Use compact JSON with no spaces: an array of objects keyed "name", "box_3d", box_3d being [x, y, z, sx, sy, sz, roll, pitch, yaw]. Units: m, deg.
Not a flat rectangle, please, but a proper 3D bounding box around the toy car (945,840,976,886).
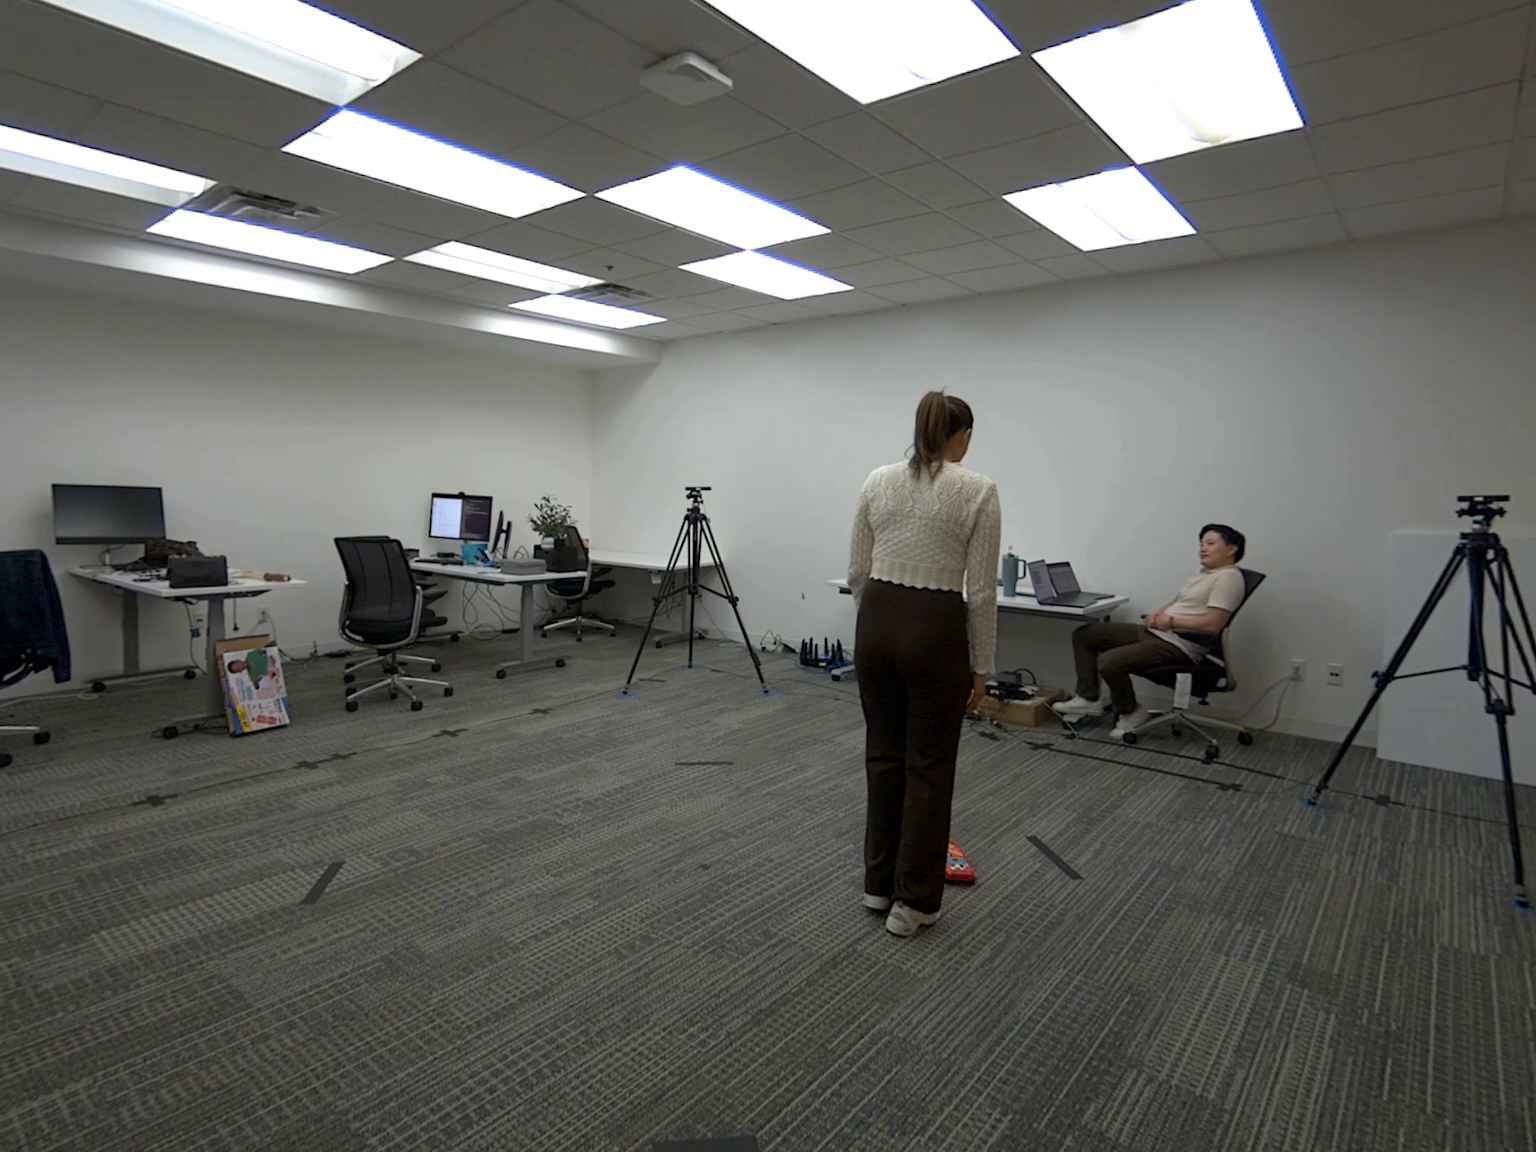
[{"name":"toy car","box_3d":[0.678,1.050,3.141,0.130,0.082,0.258,0,17,1]}]
